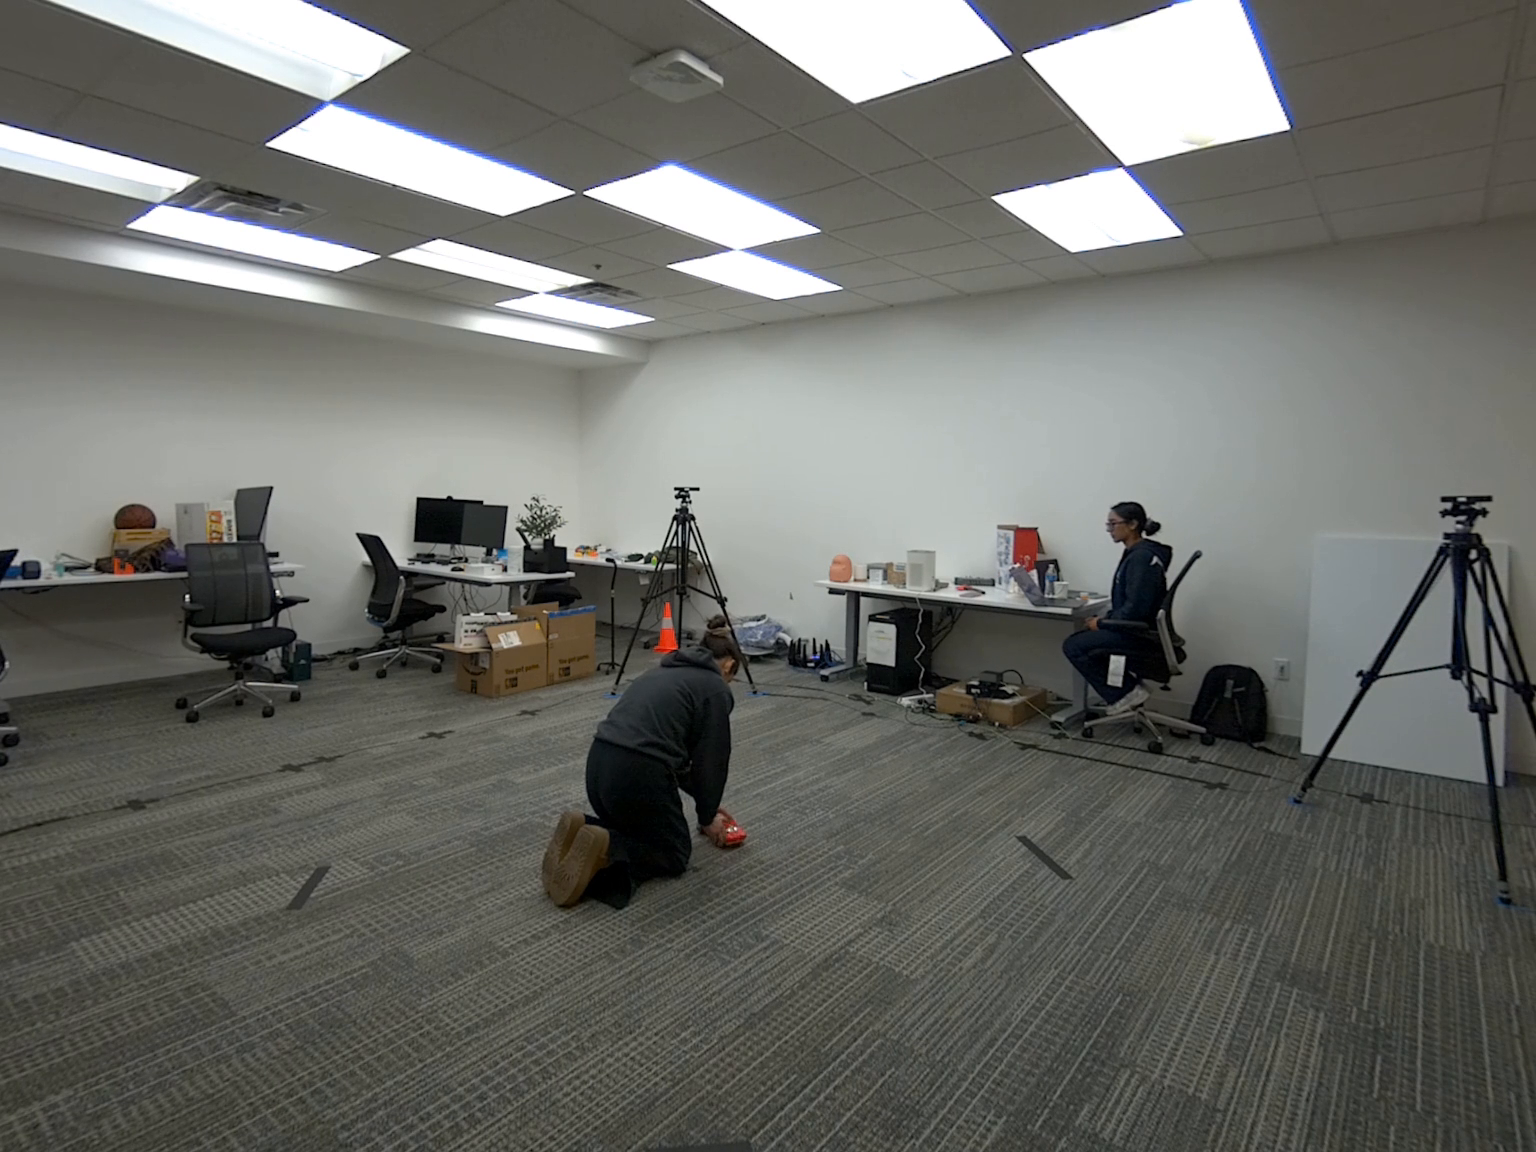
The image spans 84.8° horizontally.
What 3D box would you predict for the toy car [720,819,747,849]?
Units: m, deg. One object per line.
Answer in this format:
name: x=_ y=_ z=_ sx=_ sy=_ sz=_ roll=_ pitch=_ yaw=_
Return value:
toy car: x=-0.178 y=1.006 z=3.372 sx=0.127 sy=0.083 sz=0.260 roll=-3 pitch=-4 yaw=-31
